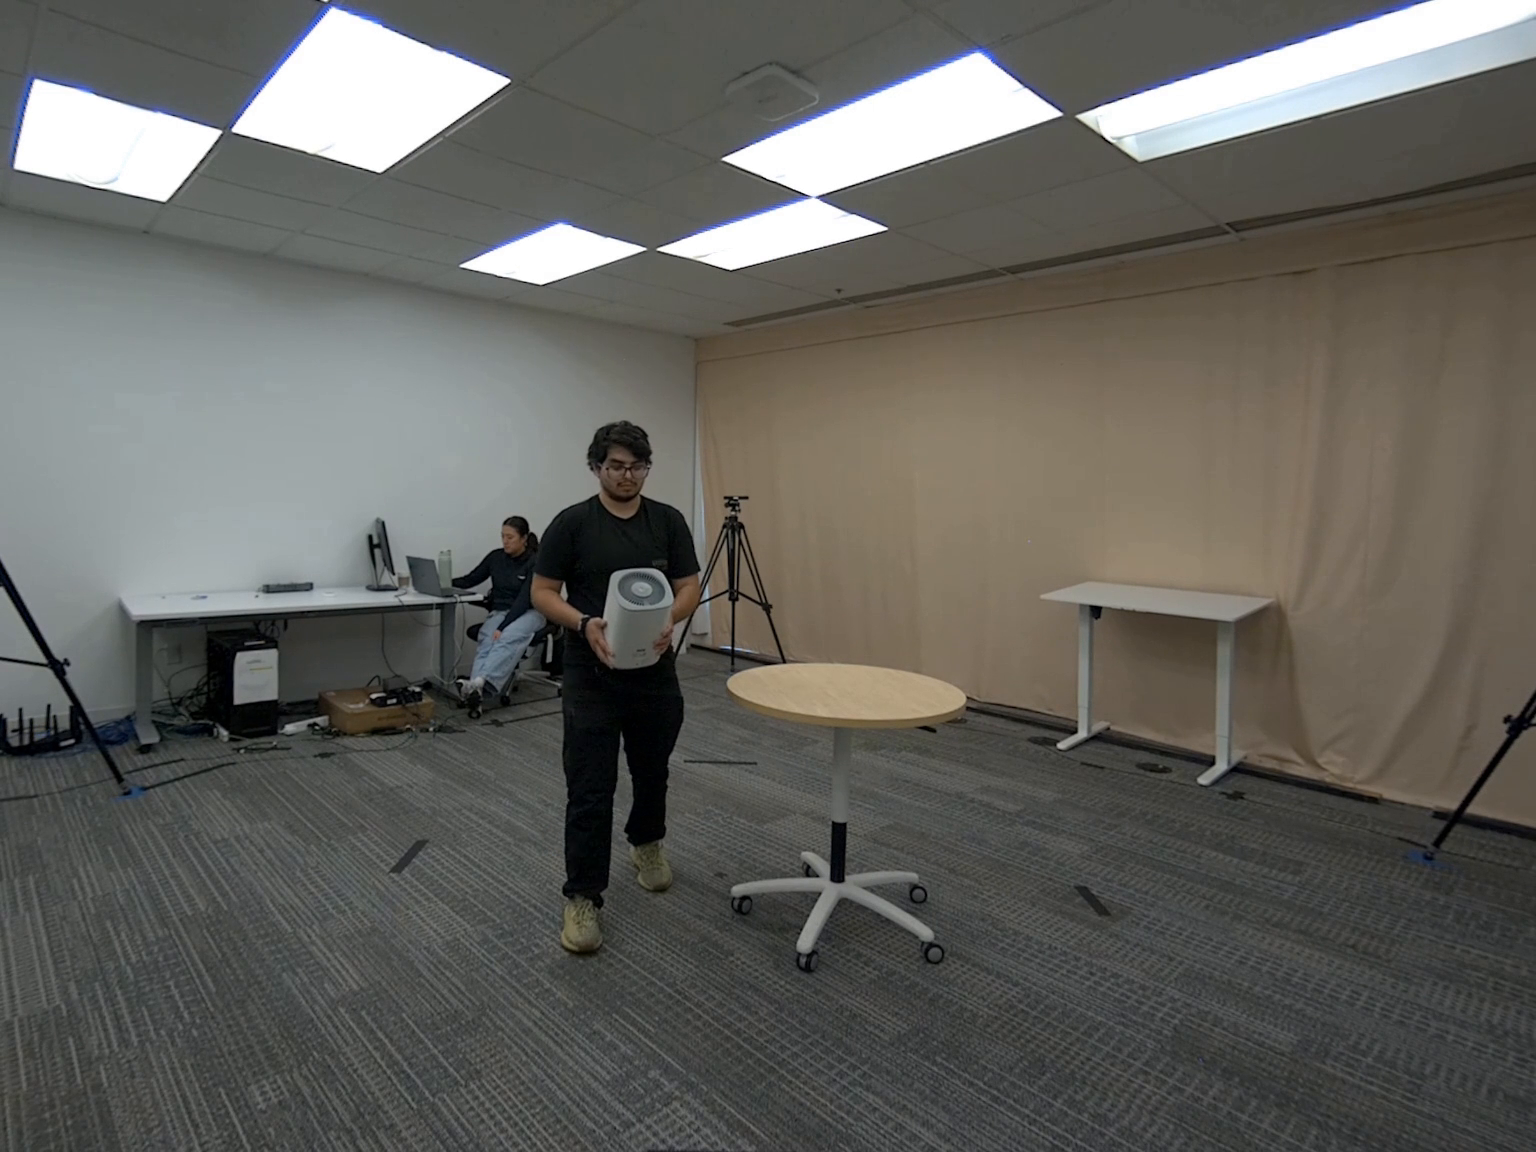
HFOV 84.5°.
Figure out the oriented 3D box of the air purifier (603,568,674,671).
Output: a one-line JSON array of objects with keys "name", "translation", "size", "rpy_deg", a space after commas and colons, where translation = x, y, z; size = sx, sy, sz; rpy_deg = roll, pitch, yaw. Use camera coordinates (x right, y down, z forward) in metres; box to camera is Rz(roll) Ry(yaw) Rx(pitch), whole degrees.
[{"name": "air purifier", "translation": [-0.403, 0.128, 2.496], "size": [0.165, 0.259, 0.179], "rpy_deg": [-1, 41, -24]}]
